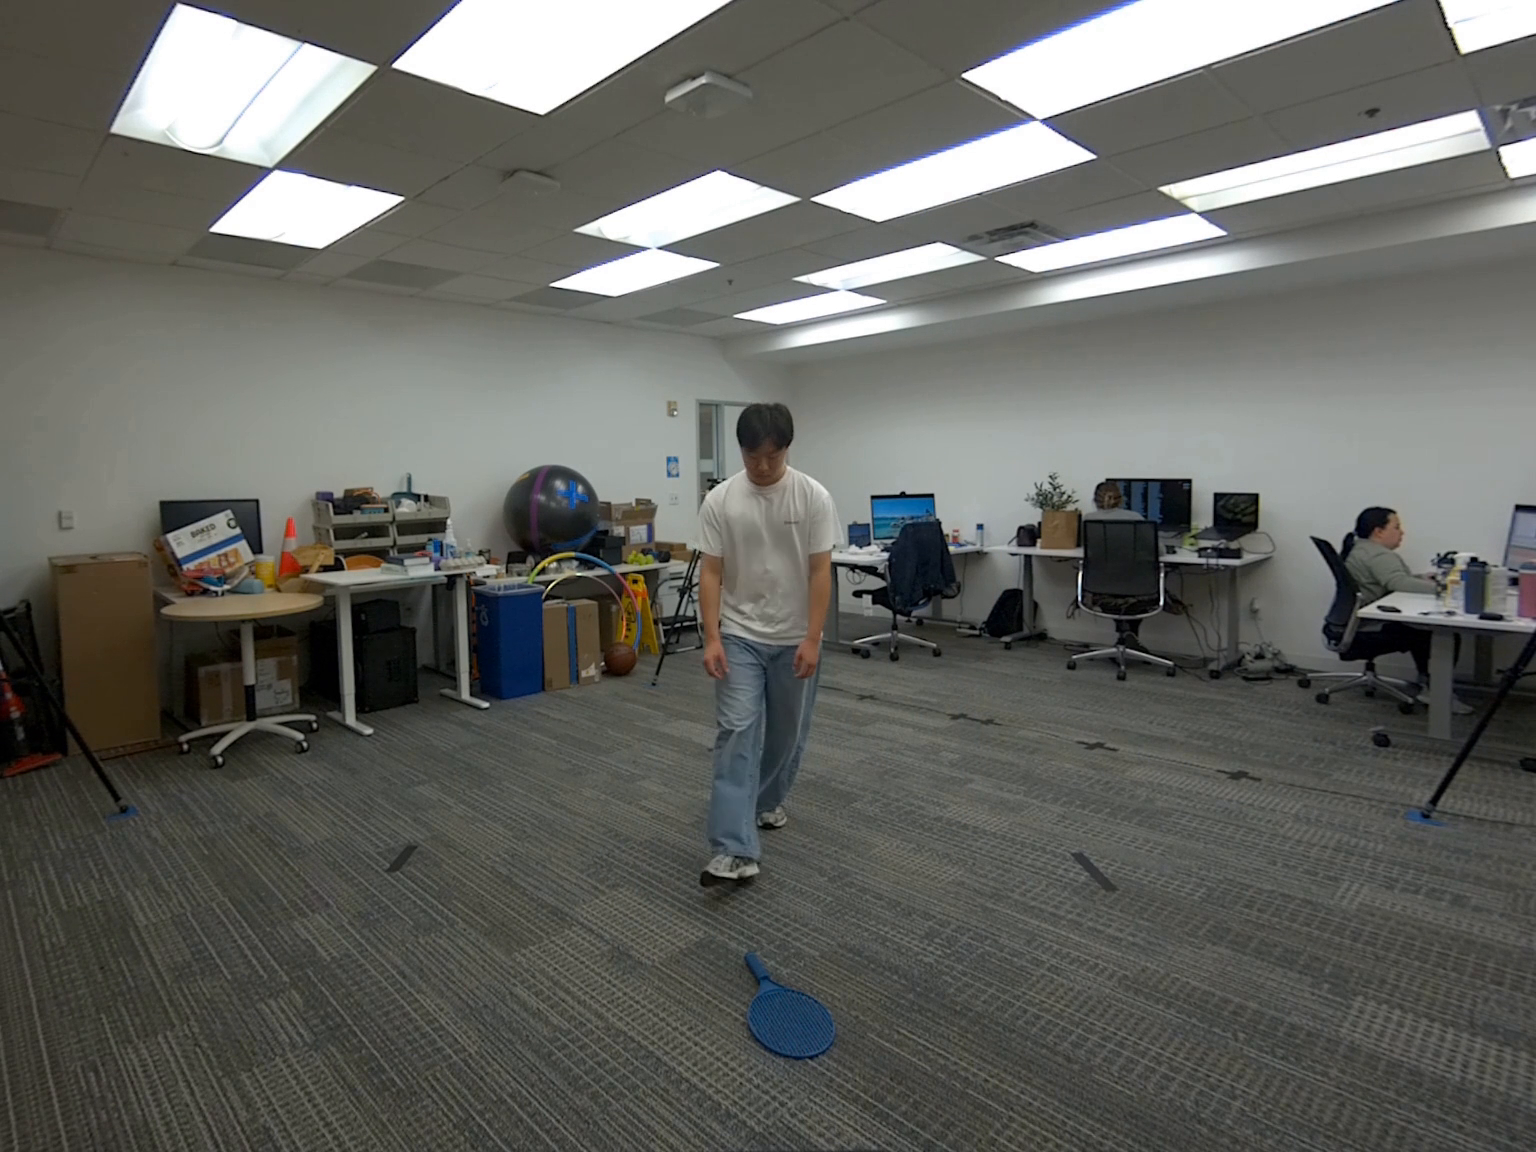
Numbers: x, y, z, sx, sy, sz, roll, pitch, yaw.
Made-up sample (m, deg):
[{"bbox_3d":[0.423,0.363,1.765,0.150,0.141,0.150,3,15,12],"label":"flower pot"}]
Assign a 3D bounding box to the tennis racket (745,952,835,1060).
[{"bbox_3d":[0.035,1.134,2.258,0.210,0.031,0.442,-4,9,-18],"label":"tennis racket"}]
